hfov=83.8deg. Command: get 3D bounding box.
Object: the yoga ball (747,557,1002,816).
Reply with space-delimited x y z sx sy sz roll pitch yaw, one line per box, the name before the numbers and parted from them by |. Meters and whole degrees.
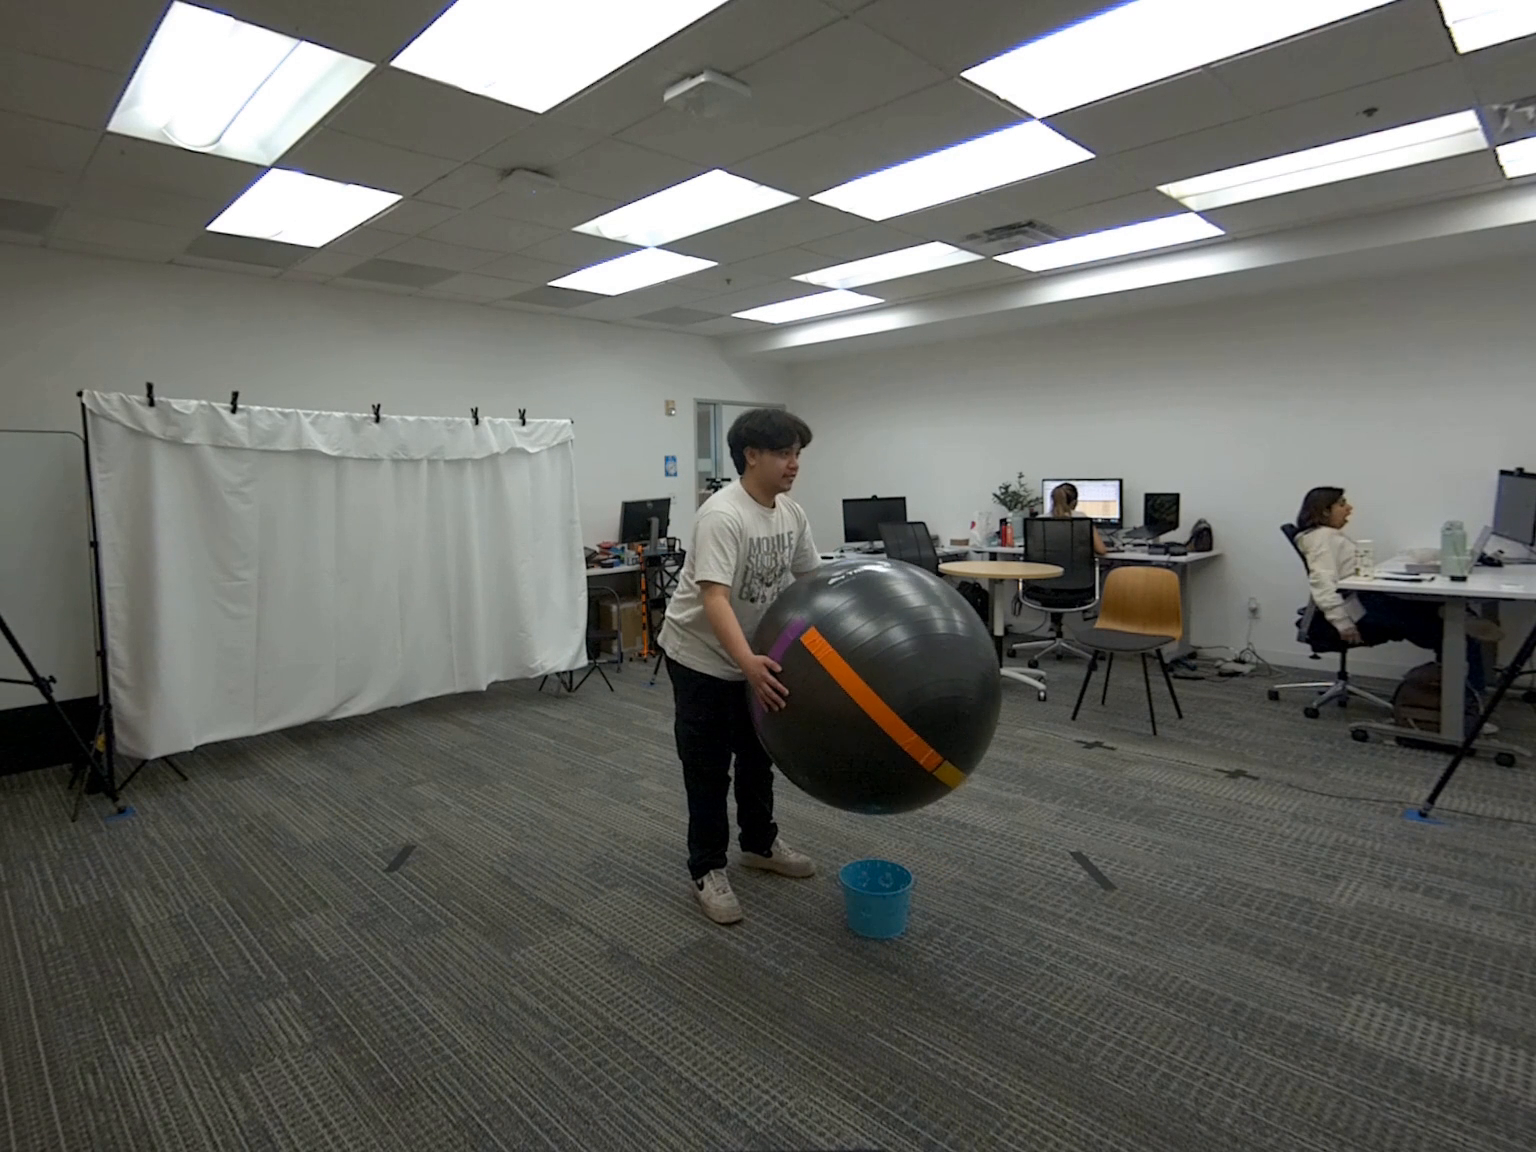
yoga ball | 0.310 0.328 2.578 0.757 0.755 0.762 -1 5 -2
